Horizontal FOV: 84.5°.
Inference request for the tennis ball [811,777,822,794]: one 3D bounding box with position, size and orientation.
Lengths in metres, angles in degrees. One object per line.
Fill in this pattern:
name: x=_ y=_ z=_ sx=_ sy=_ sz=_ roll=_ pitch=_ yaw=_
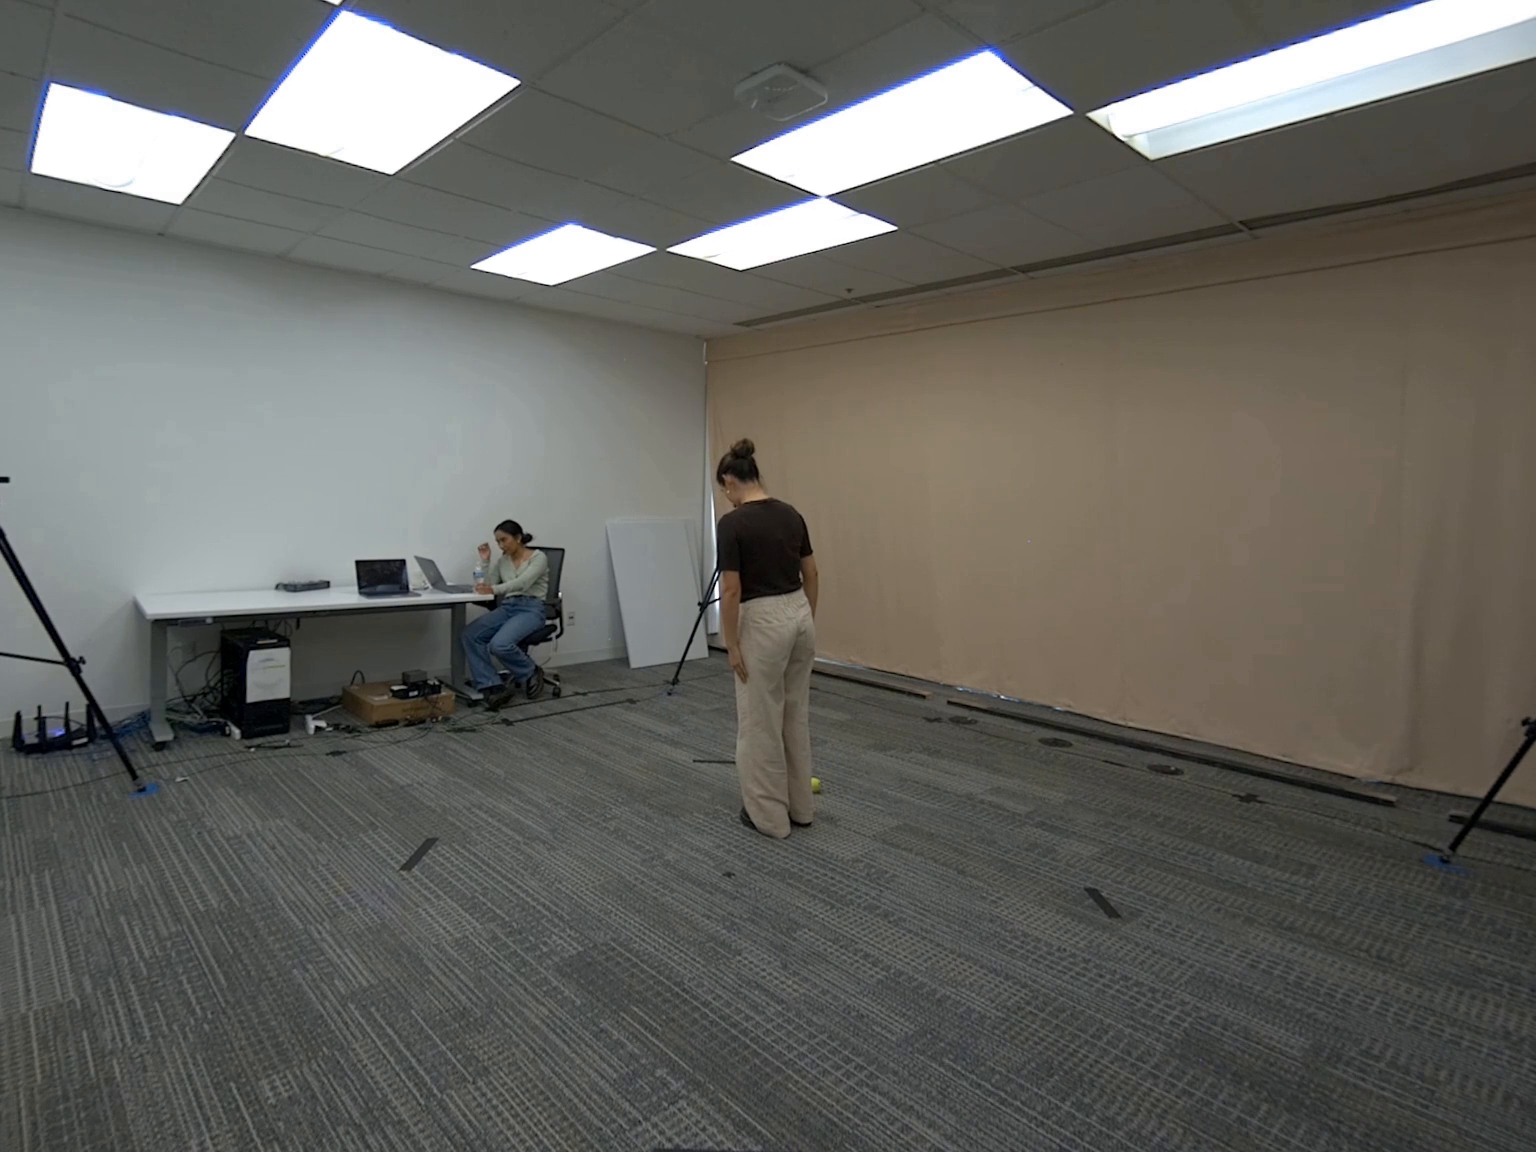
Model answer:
tennis ball: x=0.211 y=0.987 z=4.013 sx=0.066 sy=0.066 sz=0.067 roll=1 pitch=4 yaw=-1
